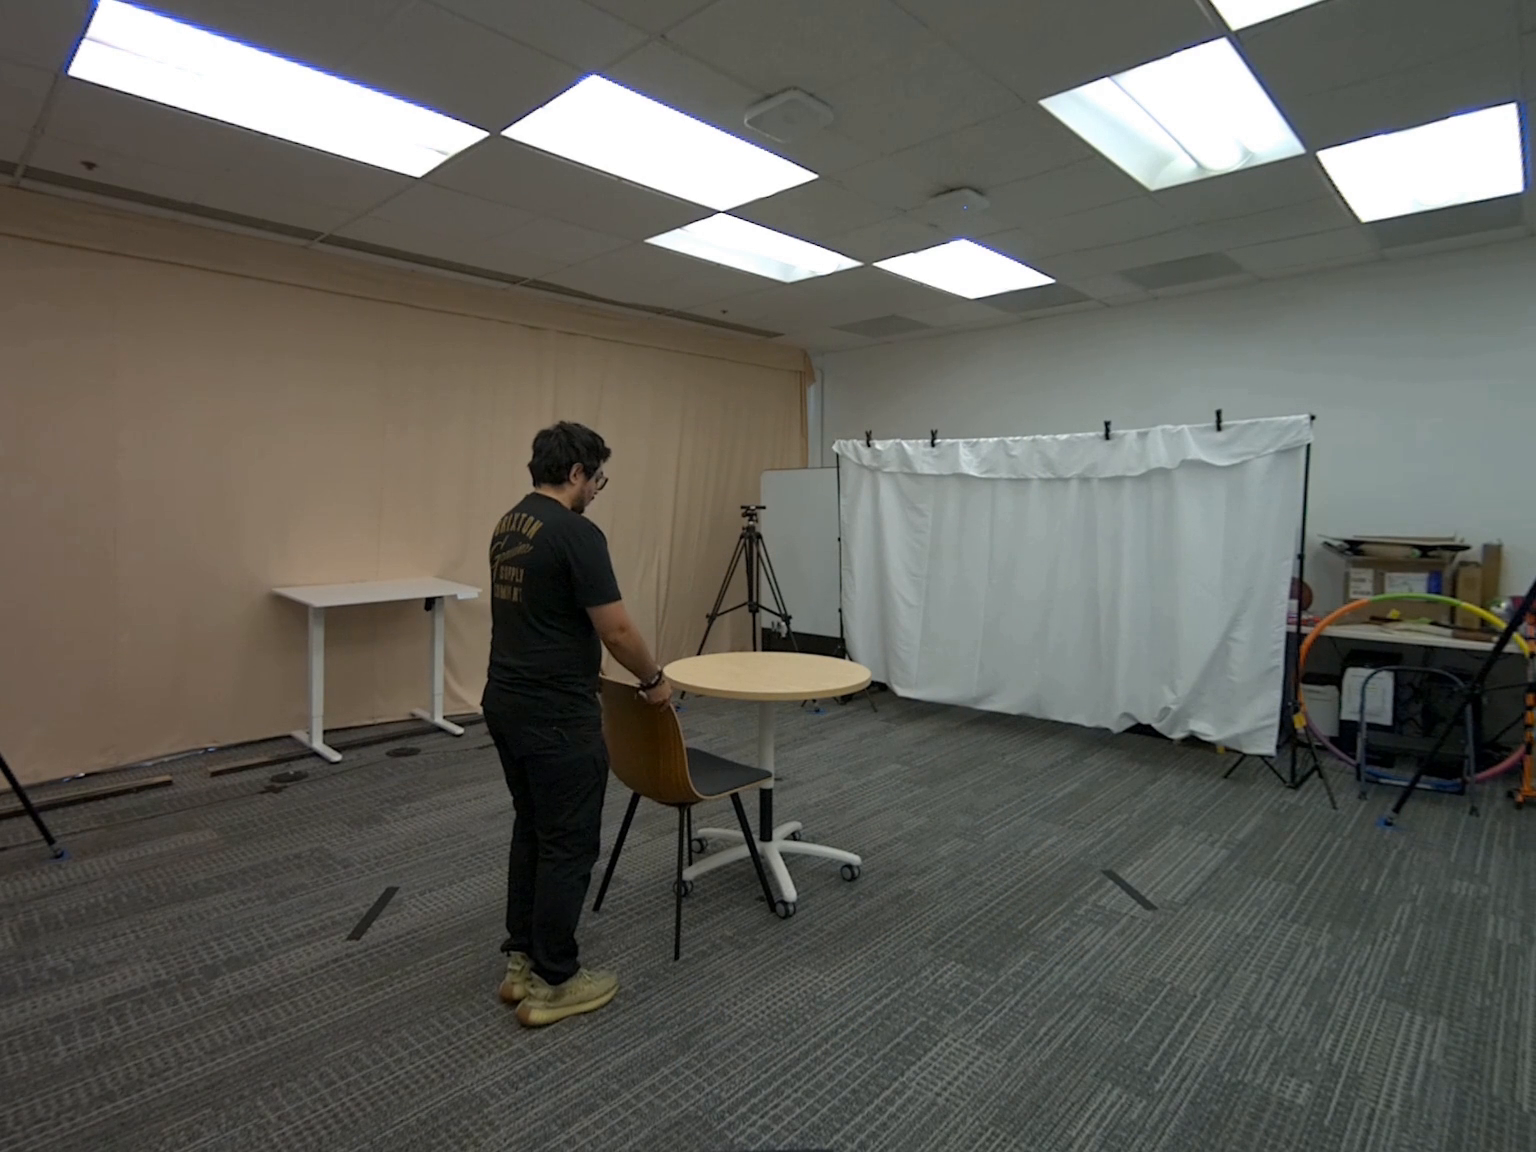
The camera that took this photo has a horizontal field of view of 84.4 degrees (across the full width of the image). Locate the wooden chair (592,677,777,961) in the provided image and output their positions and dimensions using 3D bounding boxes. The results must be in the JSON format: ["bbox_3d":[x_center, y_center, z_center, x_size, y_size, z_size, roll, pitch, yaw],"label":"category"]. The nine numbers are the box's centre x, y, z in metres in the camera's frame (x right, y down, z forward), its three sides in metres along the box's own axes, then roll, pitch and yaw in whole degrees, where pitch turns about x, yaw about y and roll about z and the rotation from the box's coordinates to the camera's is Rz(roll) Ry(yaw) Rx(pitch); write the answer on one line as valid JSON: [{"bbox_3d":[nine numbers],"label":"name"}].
[{"bbox_3d":[-0.276,0.725,2.867,0.508,0.874,0.494,-9,8,-43],"label":"wooden chair"}]
